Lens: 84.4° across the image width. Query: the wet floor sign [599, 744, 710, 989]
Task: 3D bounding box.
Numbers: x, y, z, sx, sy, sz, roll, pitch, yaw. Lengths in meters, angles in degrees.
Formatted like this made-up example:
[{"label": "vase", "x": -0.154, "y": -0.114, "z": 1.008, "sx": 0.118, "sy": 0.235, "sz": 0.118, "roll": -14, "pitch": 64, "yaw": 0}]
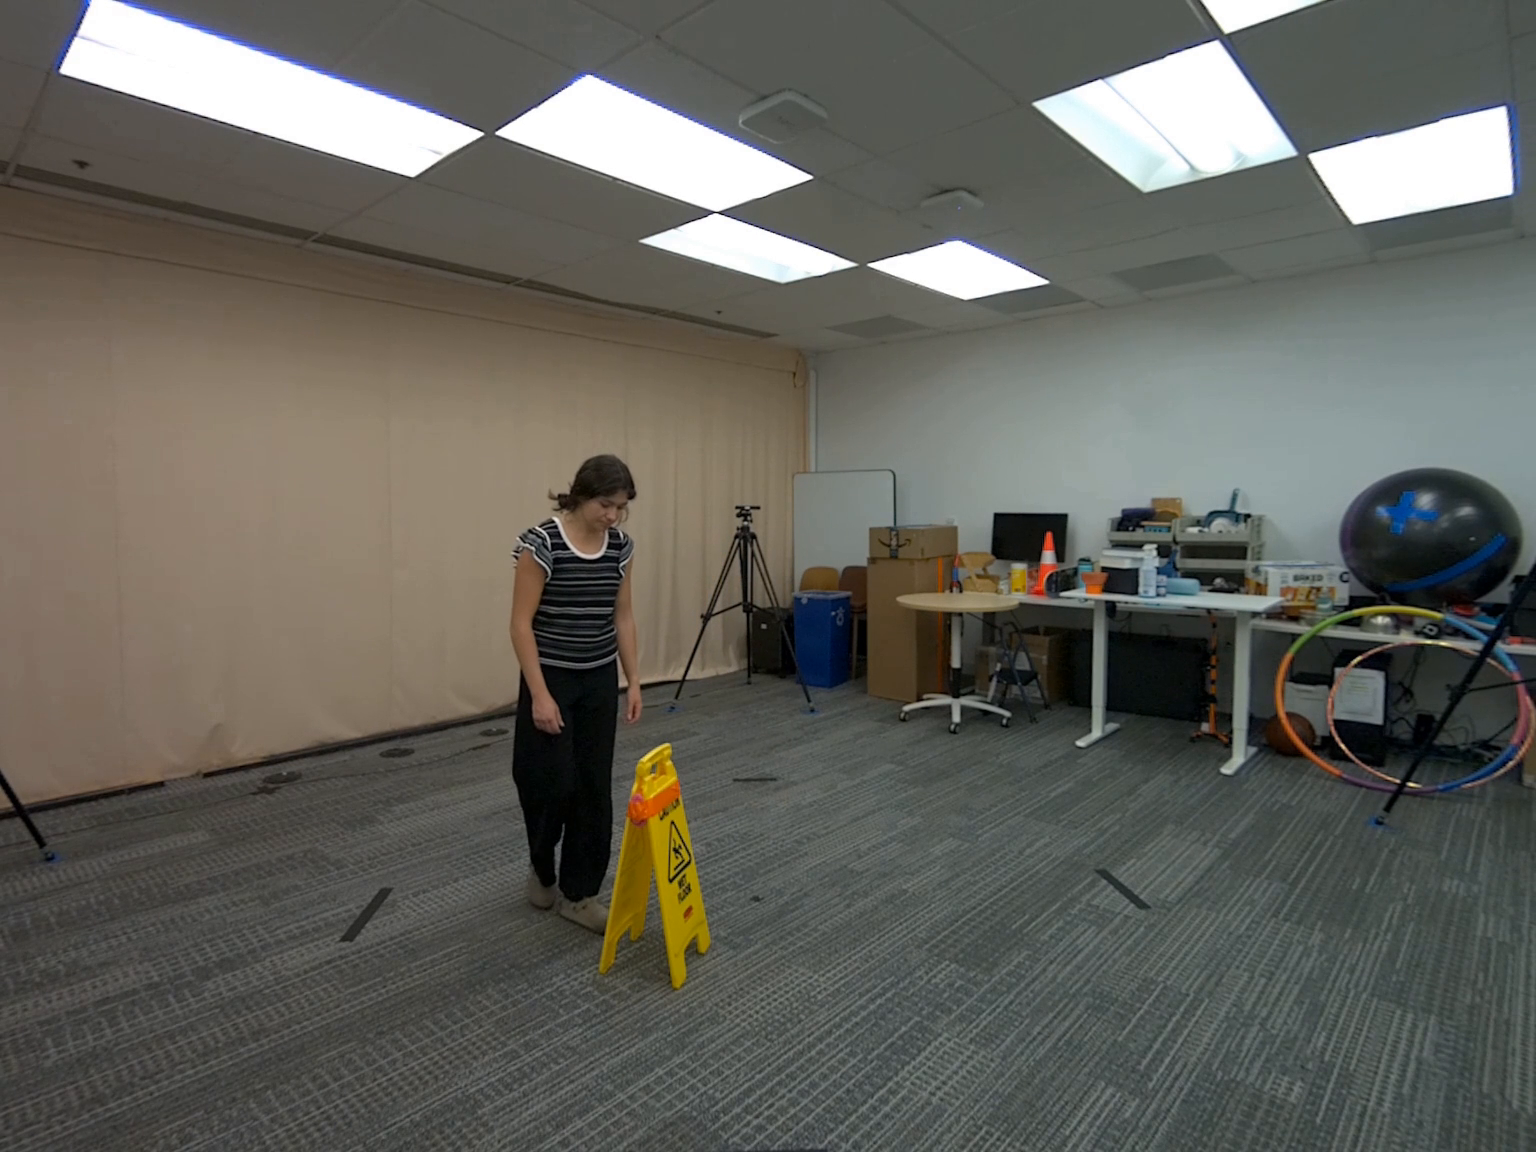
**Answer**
[{"label": "wet floor sign", "x": -0.347, "y": 0.858, "z": 2.573, "sx": 0.295, "sy": 0.645, "sz": 0.277, "roll": 0, "pitch": 2, "yaw": 18}]
